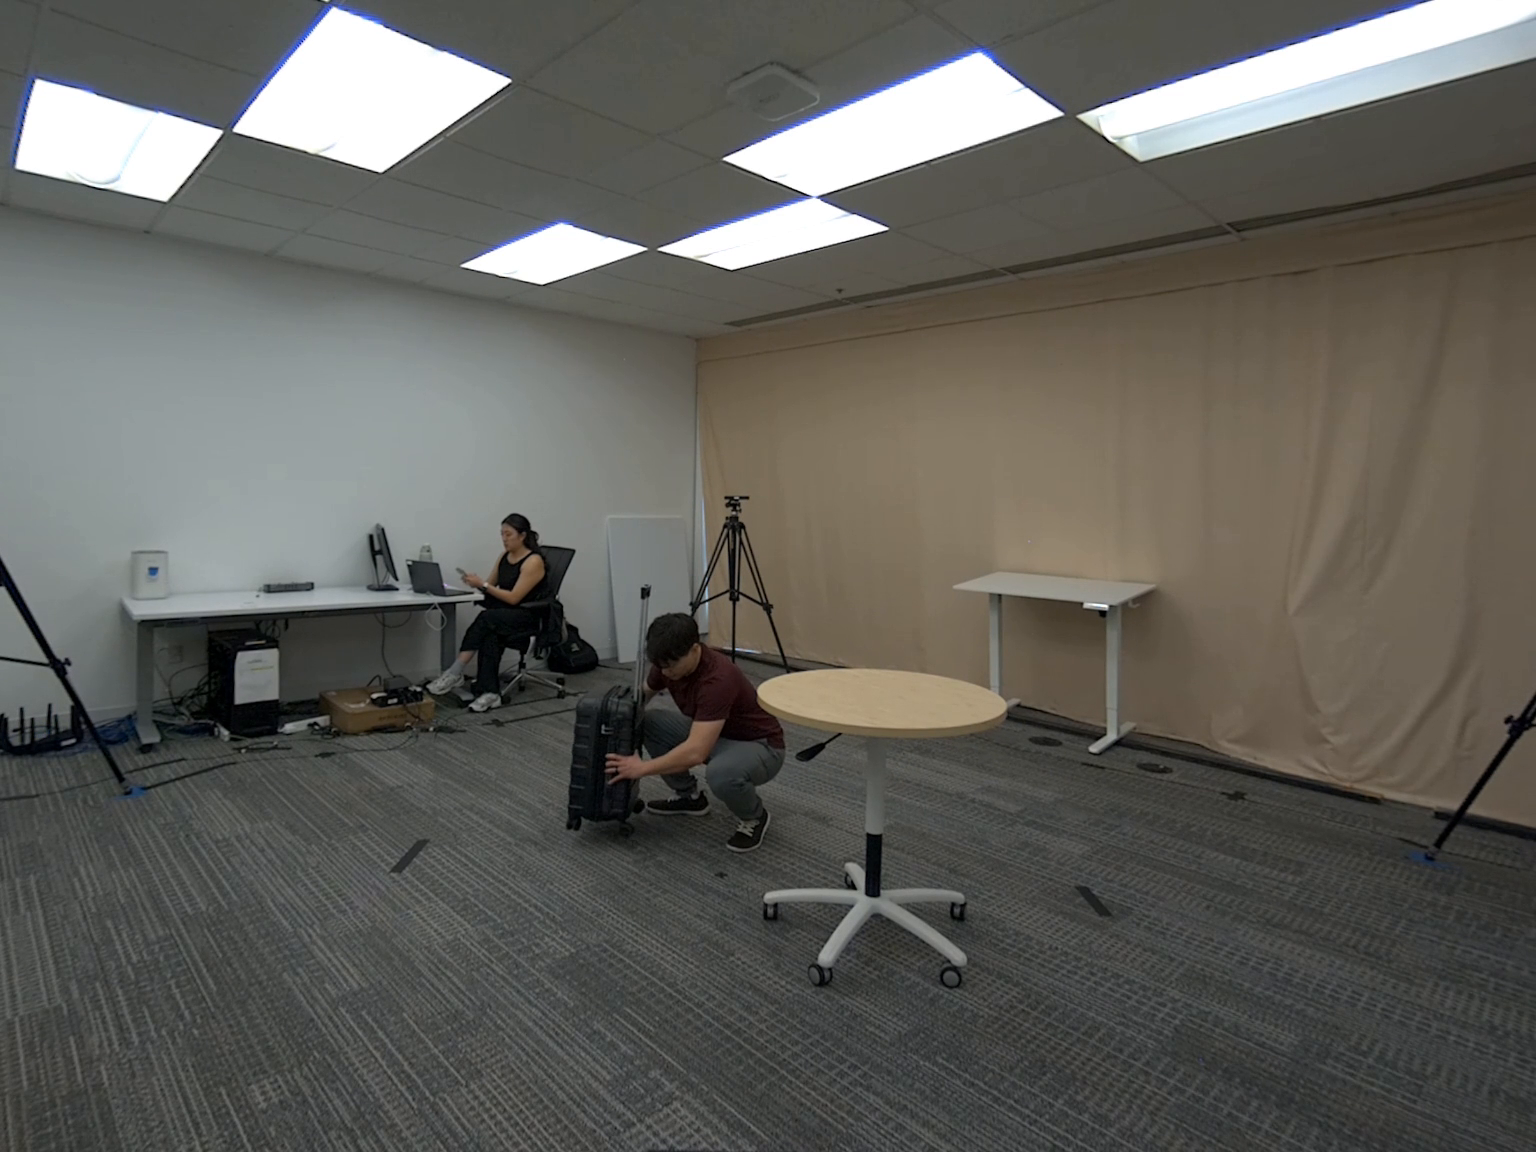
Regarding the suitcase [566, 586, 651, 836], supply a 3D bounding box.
[{"bbox_3d":[-0.647,0.520,3.458,0.257,0.978,0.383,2,1,2],"label":"suitcase"}]
